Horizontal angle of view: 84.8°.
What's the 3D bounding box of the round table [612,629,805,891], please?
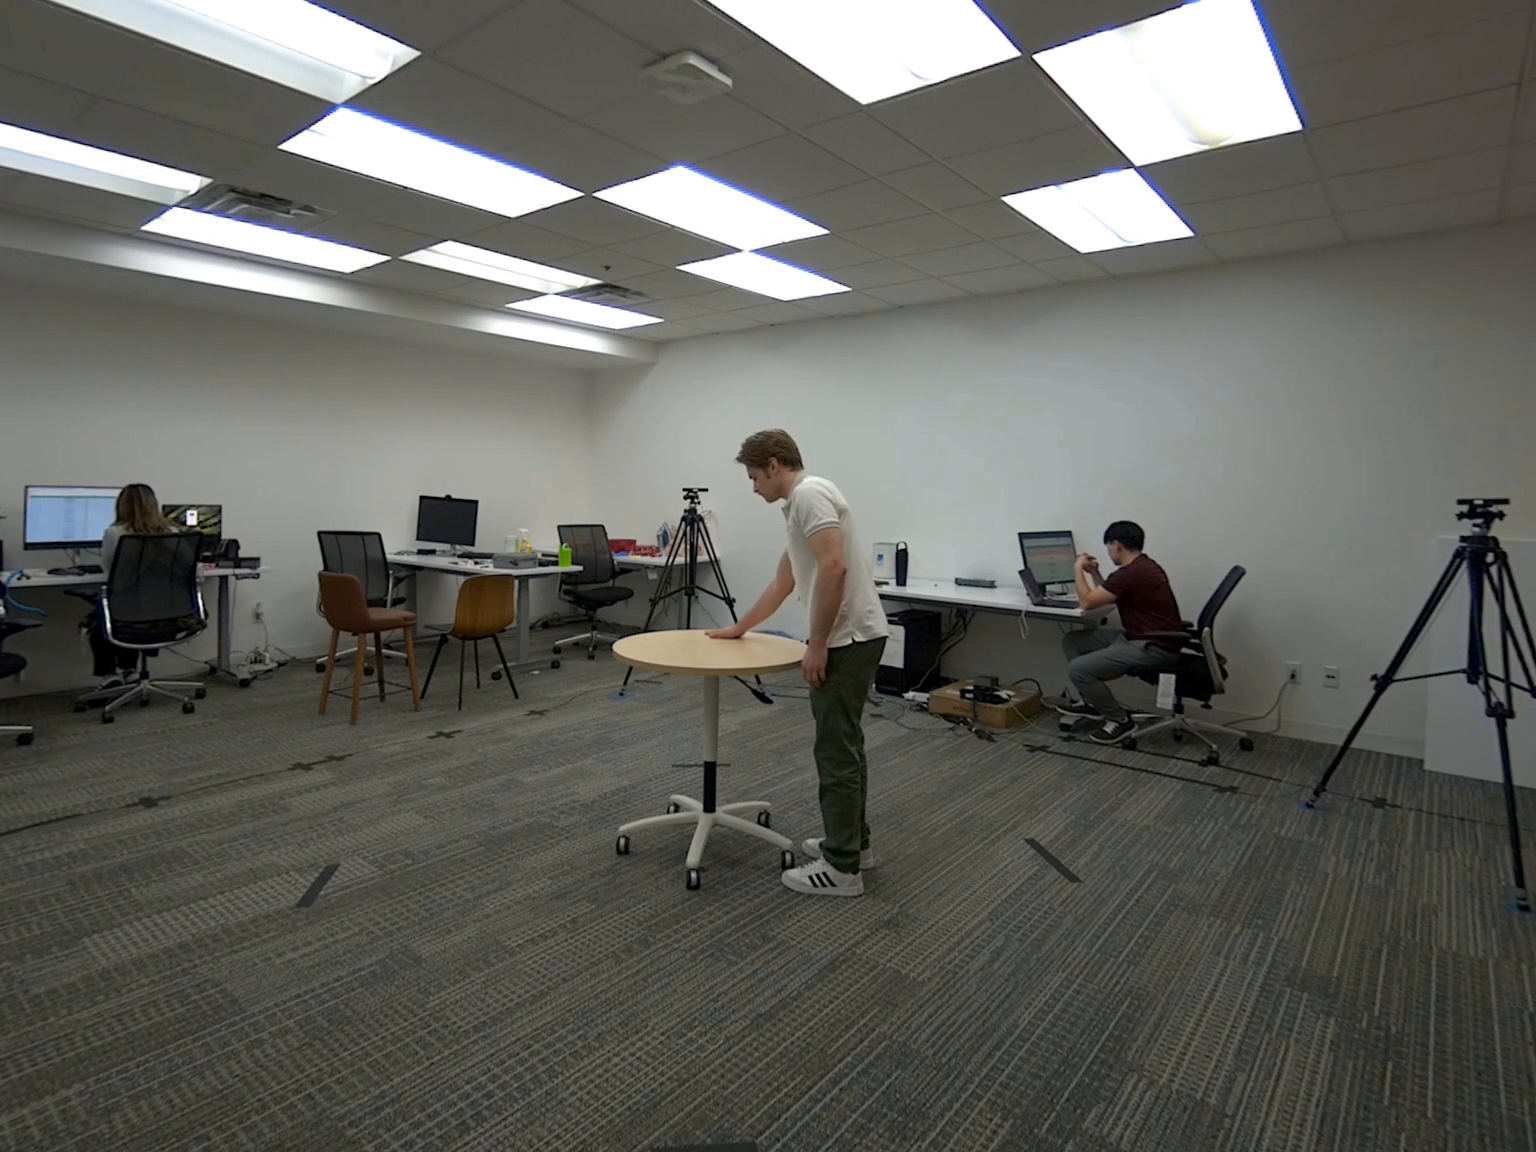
[{"bbox_3d":[-0.242,0.656,3.304,0.784,0.784,0.789,1,5,-2],"label":"round table"}]
